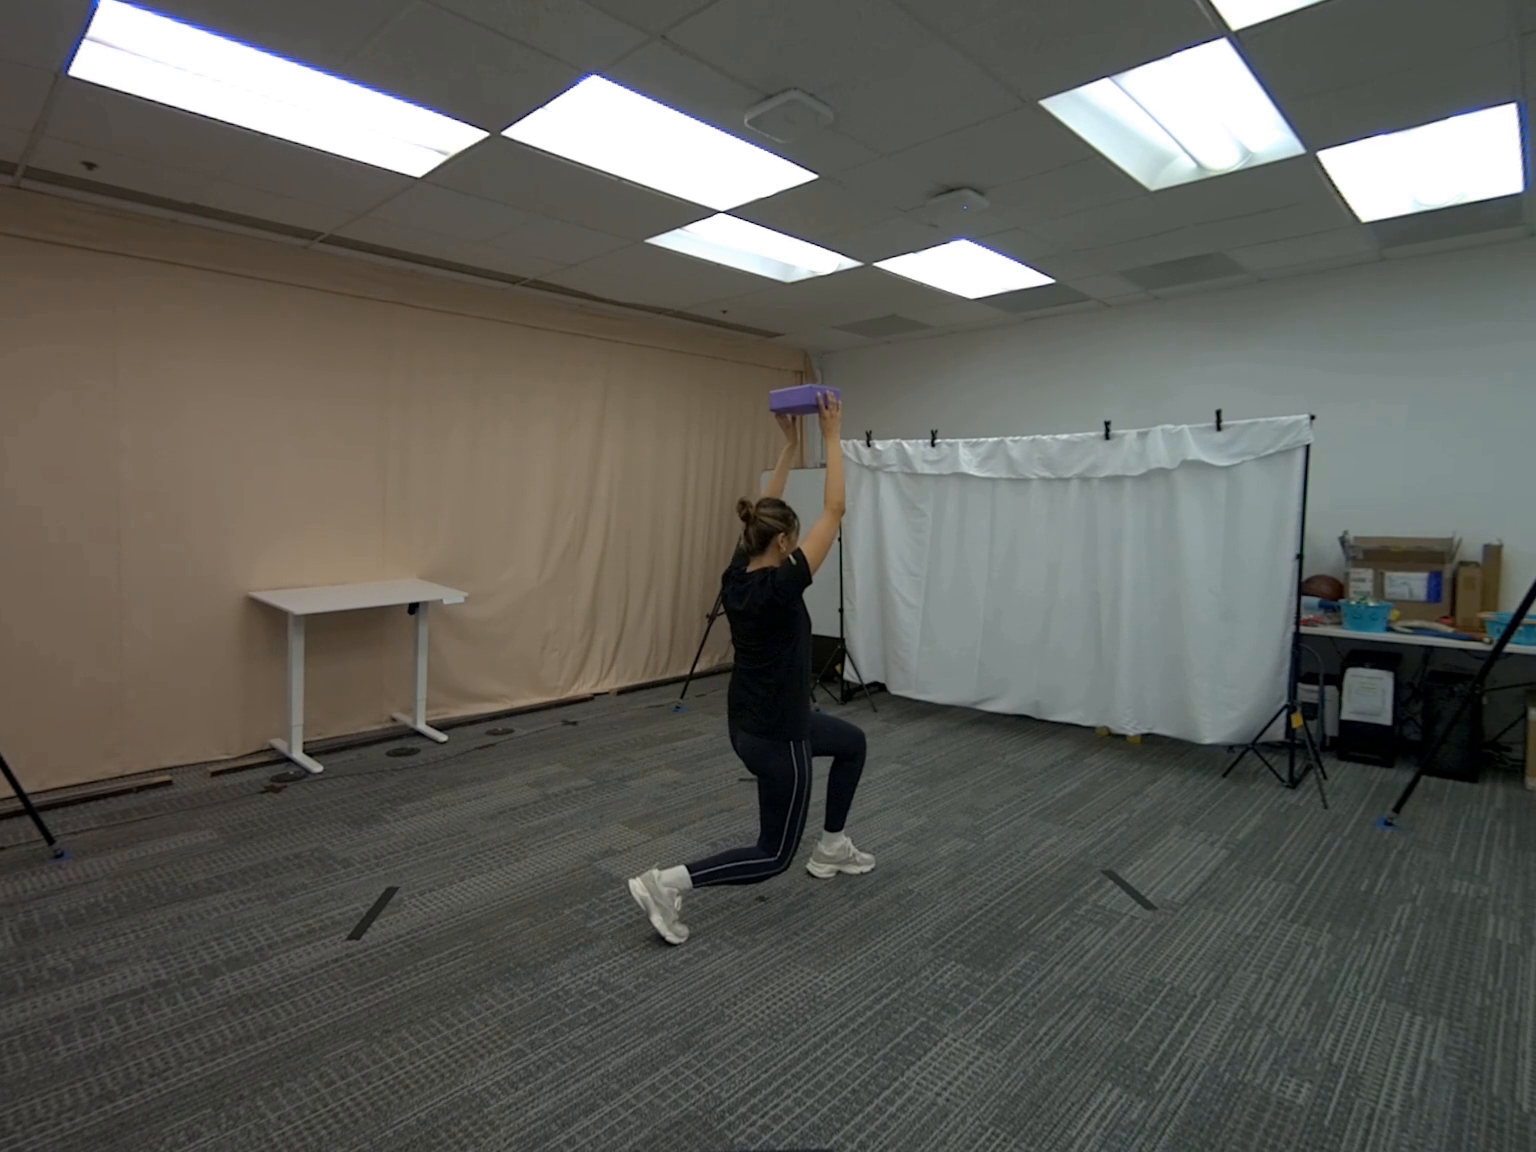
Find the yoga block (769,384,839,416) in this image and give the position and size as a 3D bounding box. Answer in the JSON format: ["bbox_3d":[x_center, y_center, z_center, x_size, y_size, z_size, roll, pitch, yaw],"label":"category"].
[{"bbox_3d":[0.137,-0.634,2.998,0.144,0.076,0.237,0,4,-39],"label":"yoga block"}]
